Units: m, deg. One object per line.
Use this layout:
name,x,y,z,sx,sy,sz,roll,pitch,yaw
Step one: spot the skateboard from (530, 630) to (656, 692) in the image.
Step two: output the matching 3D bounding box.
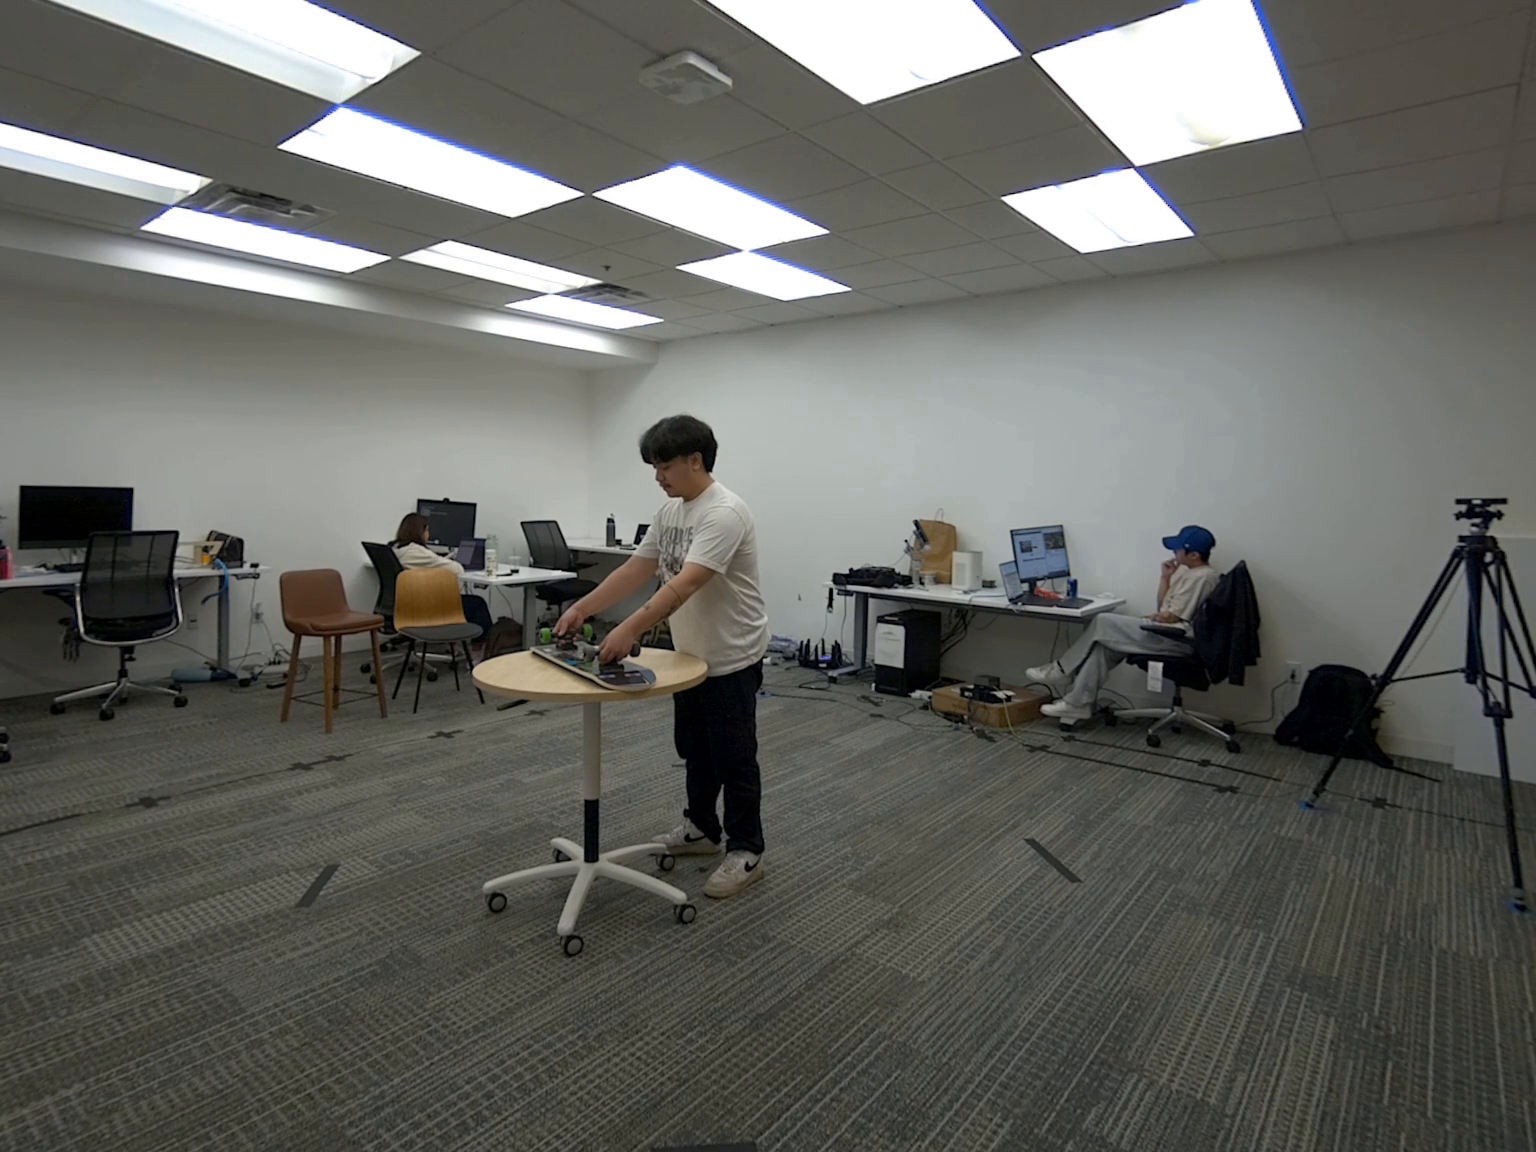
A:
skateboard,-0.613,0.248,2.812,0.188,0.110,0.810,-5,8,-33
